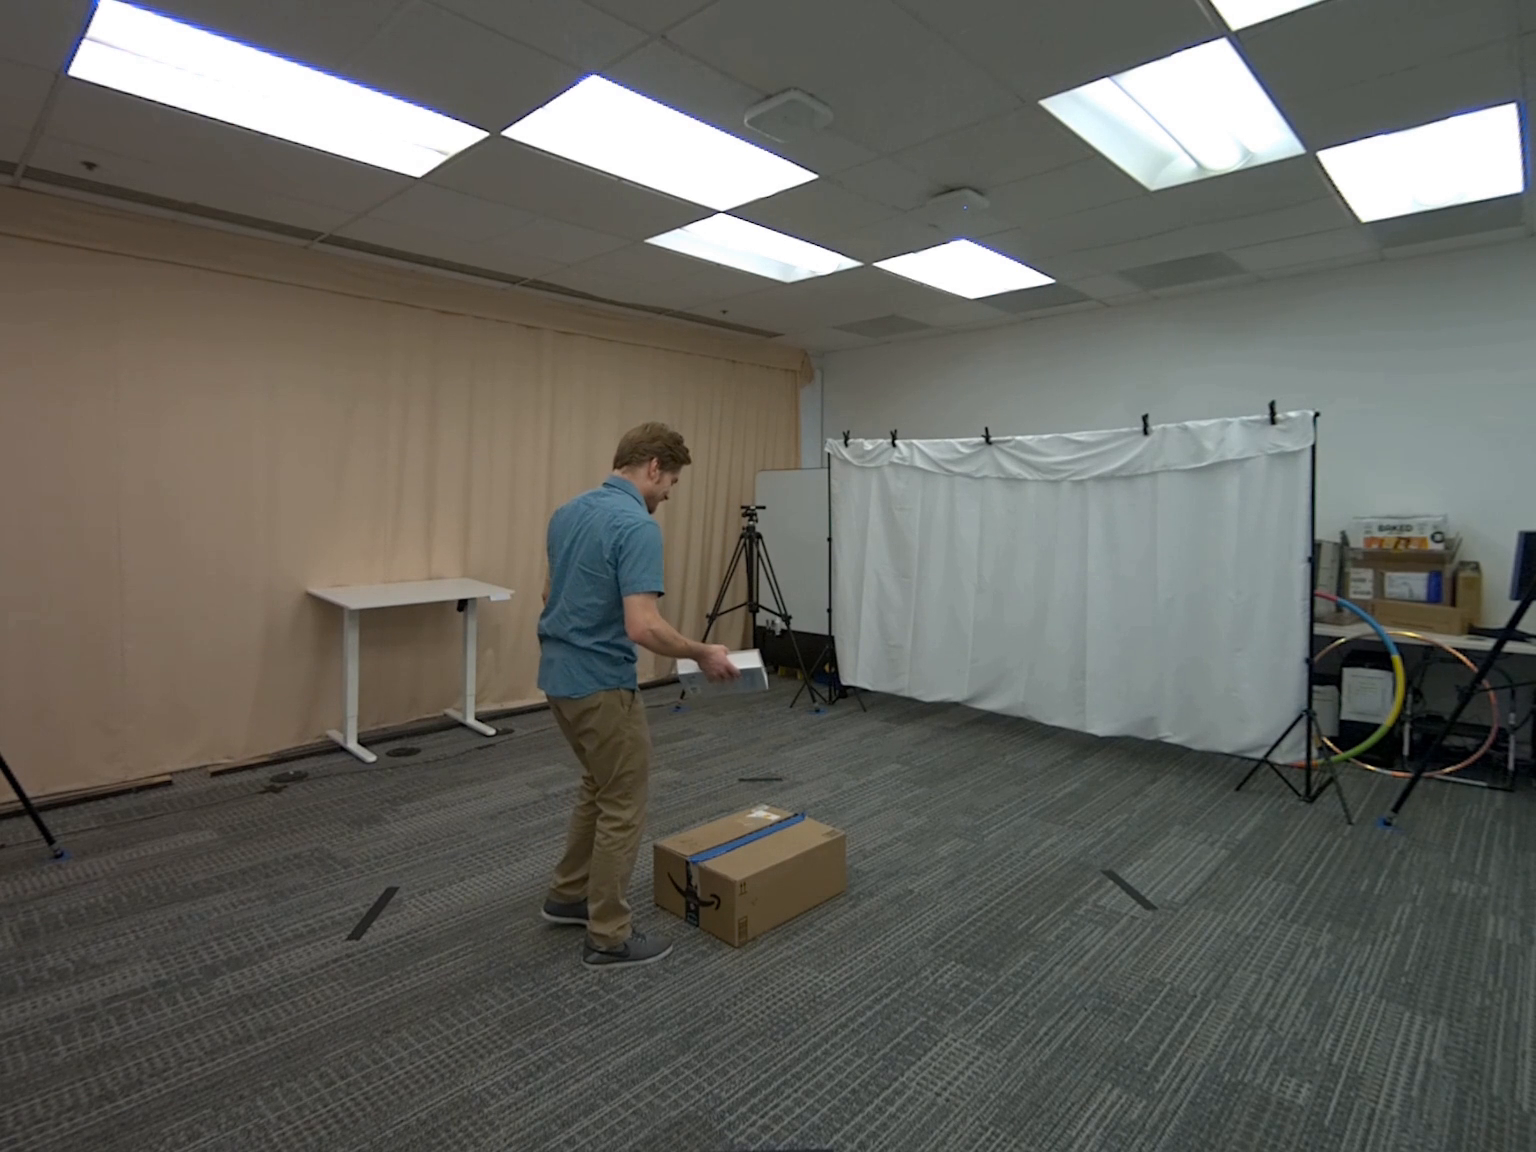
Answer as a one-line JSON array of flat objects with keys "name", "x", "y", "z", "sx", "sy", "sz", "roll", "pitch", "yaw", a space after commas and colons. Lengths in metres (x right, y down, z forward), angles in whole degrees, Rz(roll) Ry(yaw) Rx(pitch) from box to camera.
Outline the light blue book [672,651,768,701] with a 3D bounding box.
[{"name": "light blue book", "x": -0.149, "y": 0.312, "z": 2.638, "sx": 0.263, "sy": 0.060, "sz": 0.186, "roll": -5, "pitch": -32, "yaw": 9}]
